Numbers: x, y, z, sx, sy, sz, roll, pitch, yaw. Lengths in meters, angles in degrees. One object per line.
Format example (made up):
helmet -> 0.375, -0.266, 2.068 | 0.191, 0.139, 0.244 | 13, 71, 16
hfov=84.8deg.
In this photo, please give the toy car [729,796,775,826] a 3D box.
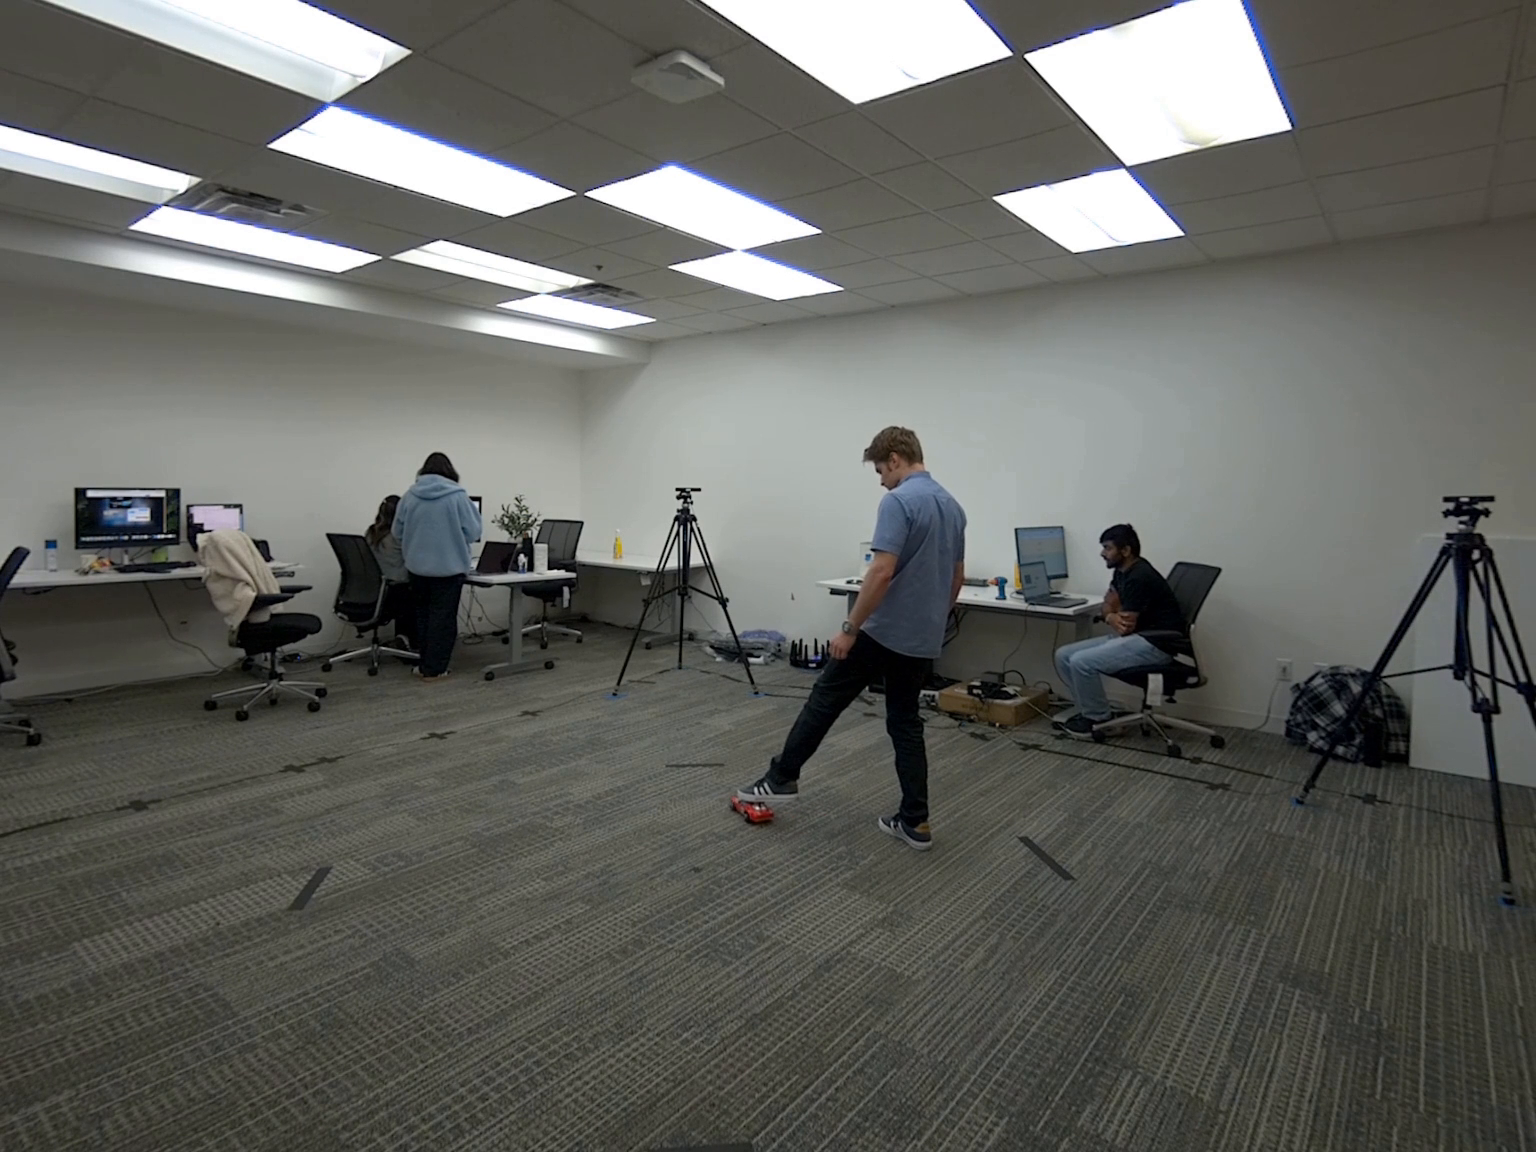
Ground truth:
toy car -> -0.069, 0.992, 3.616 | 0.127, 0.084, 0.259 | 0, -5, -25
